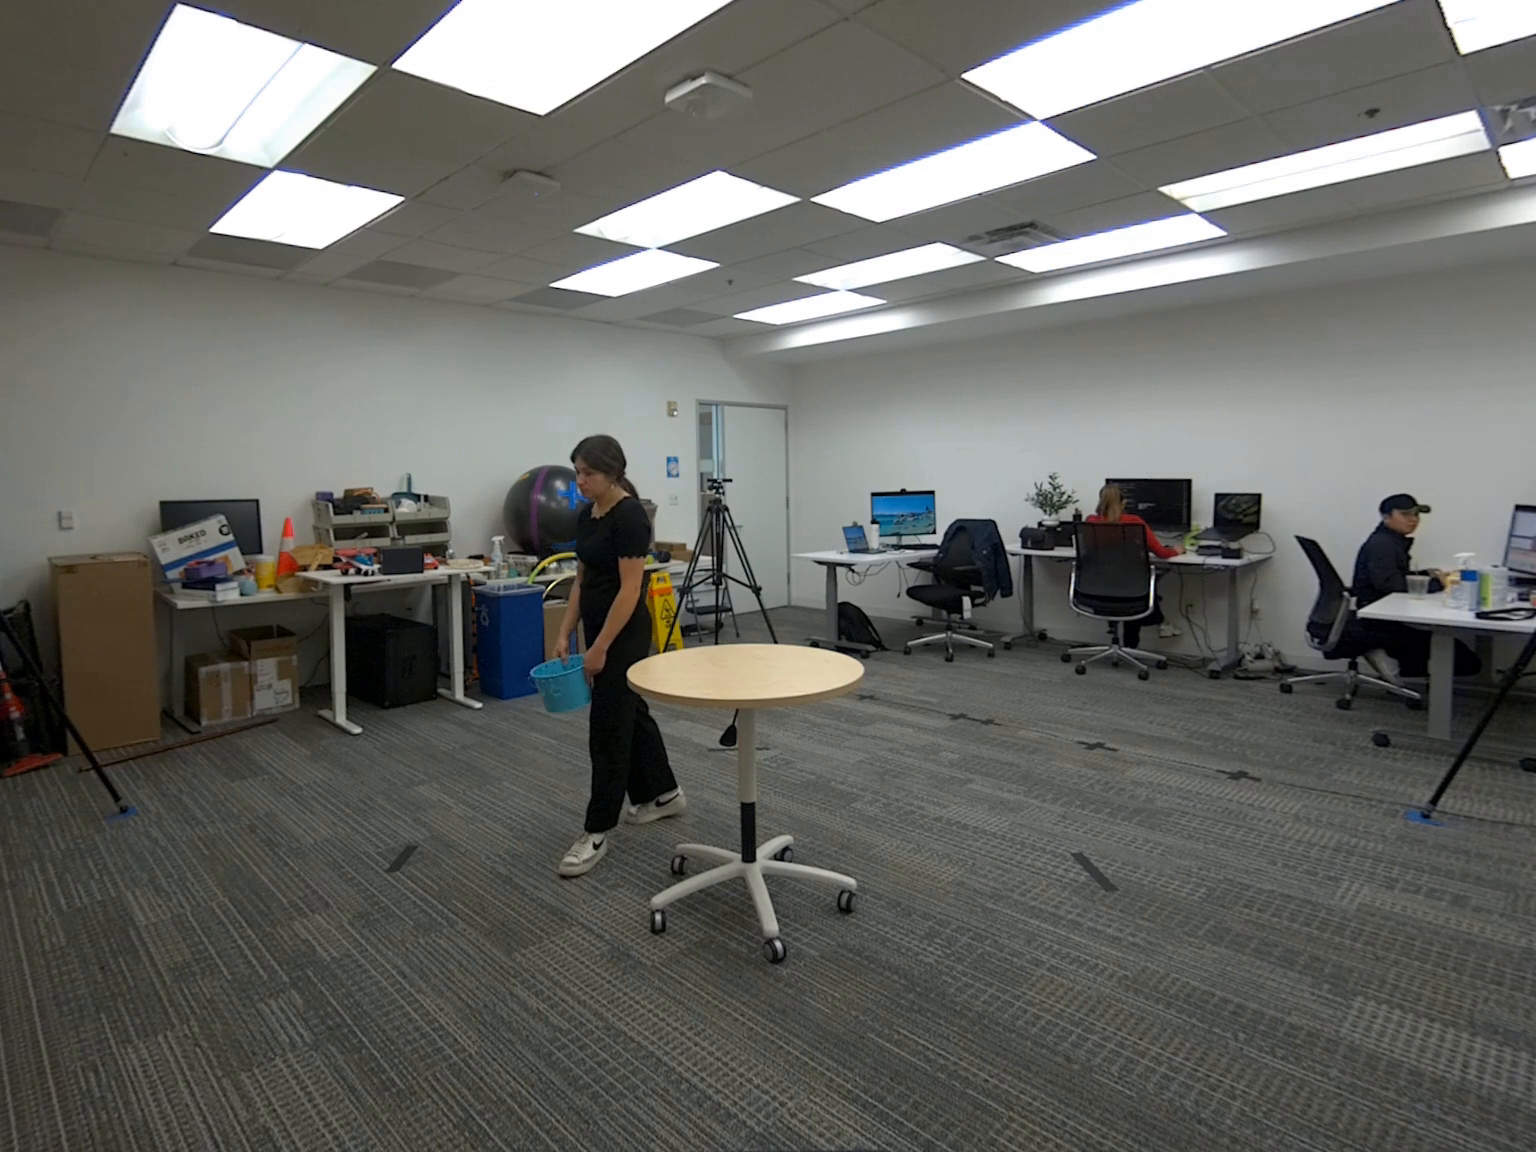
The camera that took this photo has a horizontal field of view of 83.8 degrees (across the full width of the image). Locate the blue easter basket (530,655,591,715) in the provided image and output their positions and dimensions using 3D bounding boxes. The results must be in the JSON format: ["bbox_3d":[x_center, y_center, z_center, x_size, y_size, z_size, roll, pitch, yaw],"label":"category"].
[{"bbox_3d":[-0.771,0.389,3.202,0.243,0.155,0.245,-9,8,-1],"label":"blue easter basket"}]
